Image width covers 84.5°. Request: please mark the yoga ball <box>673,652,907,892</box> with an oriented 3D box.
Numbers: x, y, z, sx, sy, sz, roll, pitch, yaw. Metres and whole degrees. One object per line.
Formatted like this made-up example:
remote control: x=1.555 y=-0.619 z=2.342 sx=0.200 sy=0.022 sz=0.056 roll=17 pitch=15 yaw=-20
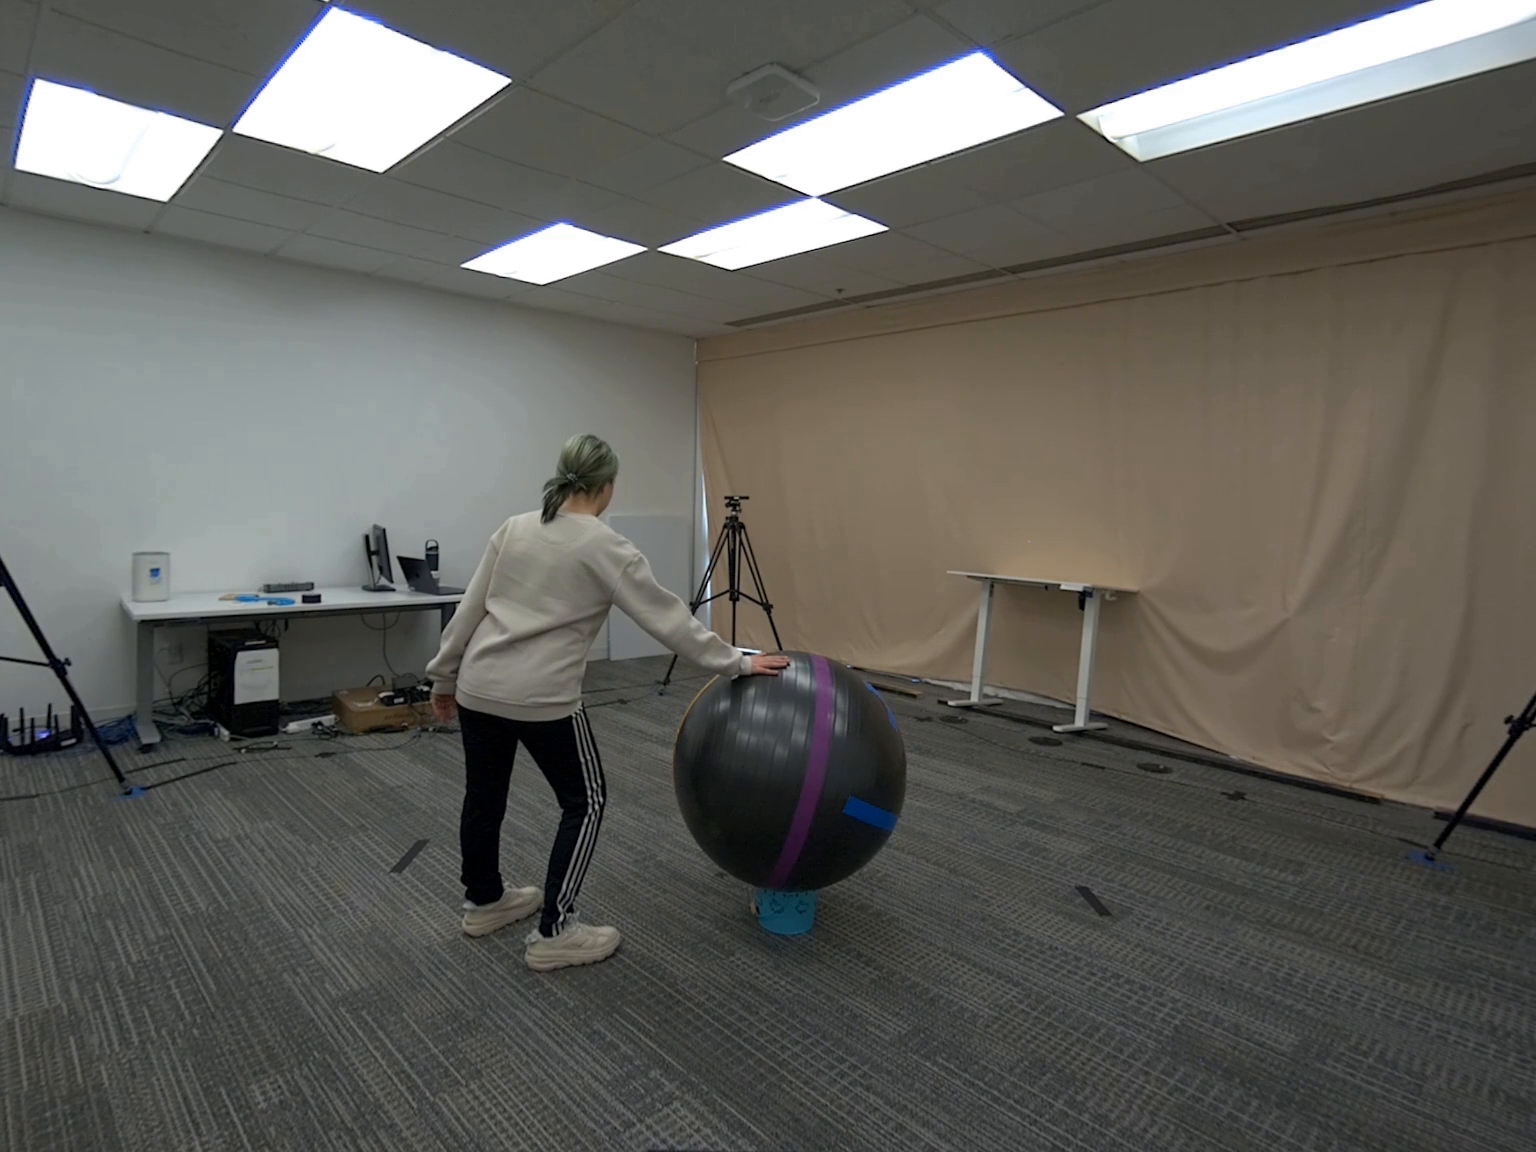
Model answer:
yoga ball: x=0.064 y=0.631 z=2.756 sx=0.757 sy=0.756 sz=0.761 roll=1 pitch=4 yaw=-1
